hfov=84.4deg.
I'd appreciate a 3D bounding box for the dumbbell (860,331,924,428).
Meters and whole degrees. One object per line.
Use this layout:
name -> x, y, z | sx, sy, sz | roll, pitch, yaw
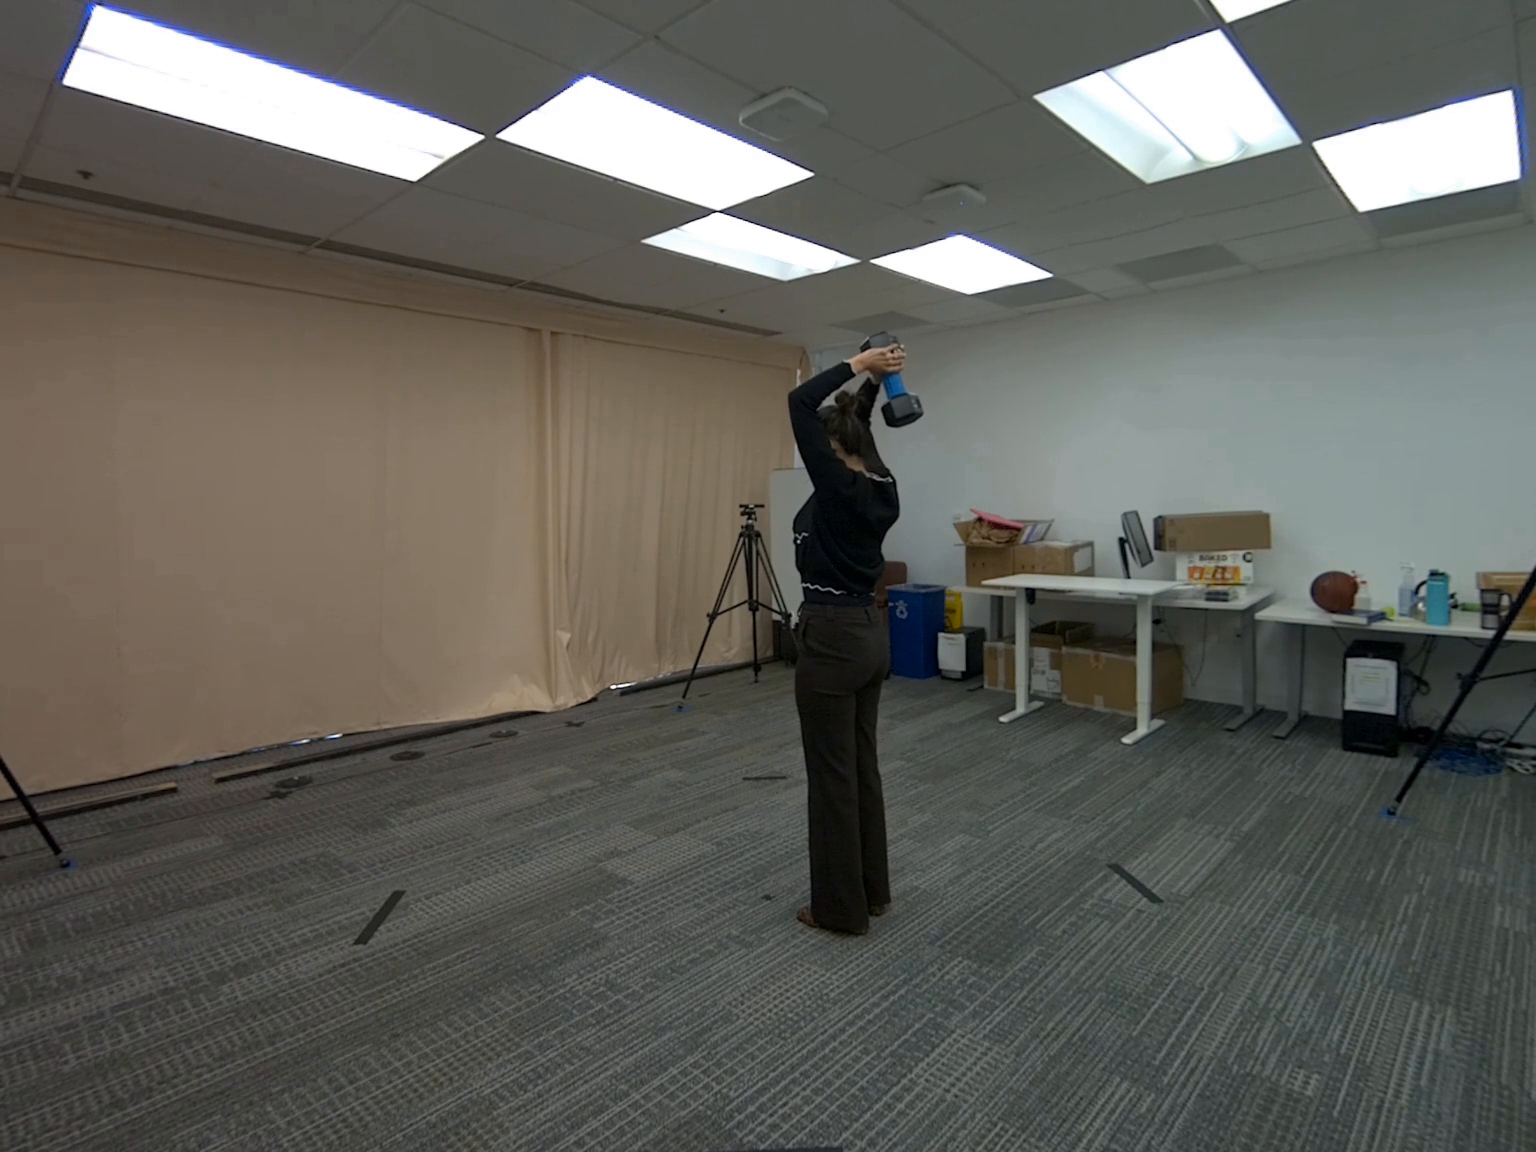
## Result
dumbbell -> 0.397, -0.621, 2.667 | 0.123, 0.296, 0.107 | -16, -9, 5
